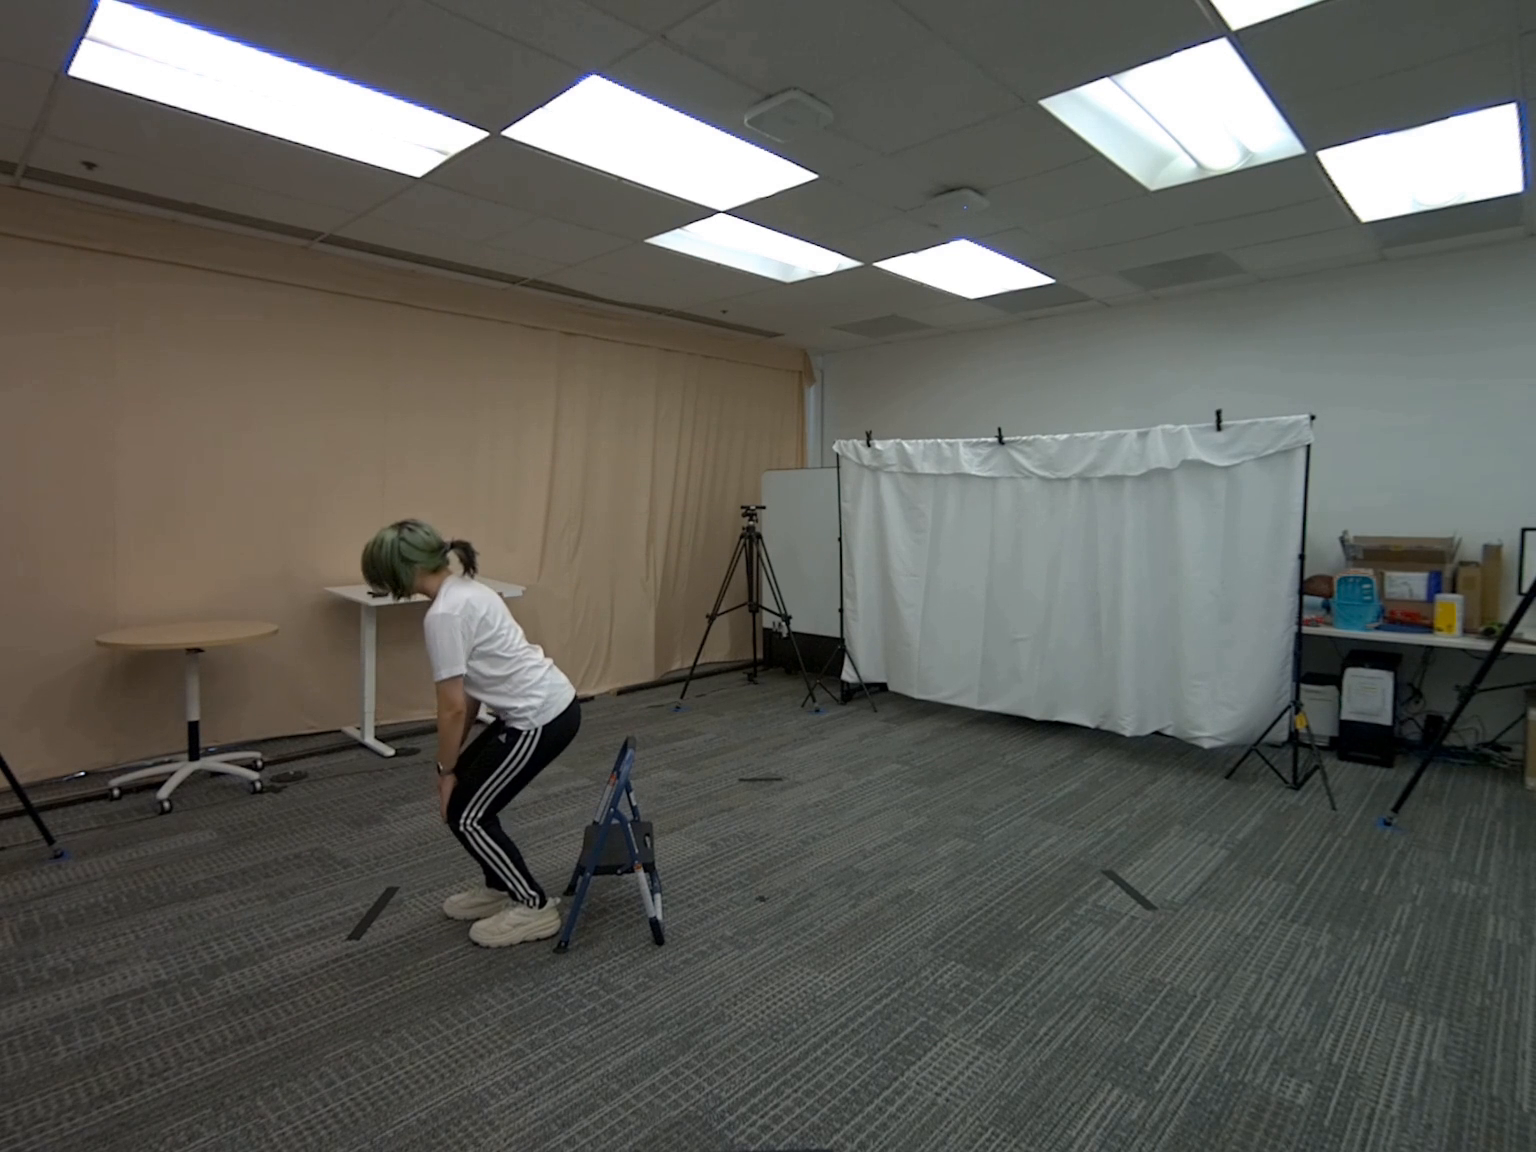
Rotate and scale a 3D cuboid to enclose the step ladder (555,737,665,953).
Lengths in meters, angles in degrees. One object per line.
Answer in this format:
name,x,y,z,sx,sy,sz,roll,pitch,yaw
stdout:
step ladder,-0.535,0.859,2.839,0.346,0.605,0.435,-2,3,-8
